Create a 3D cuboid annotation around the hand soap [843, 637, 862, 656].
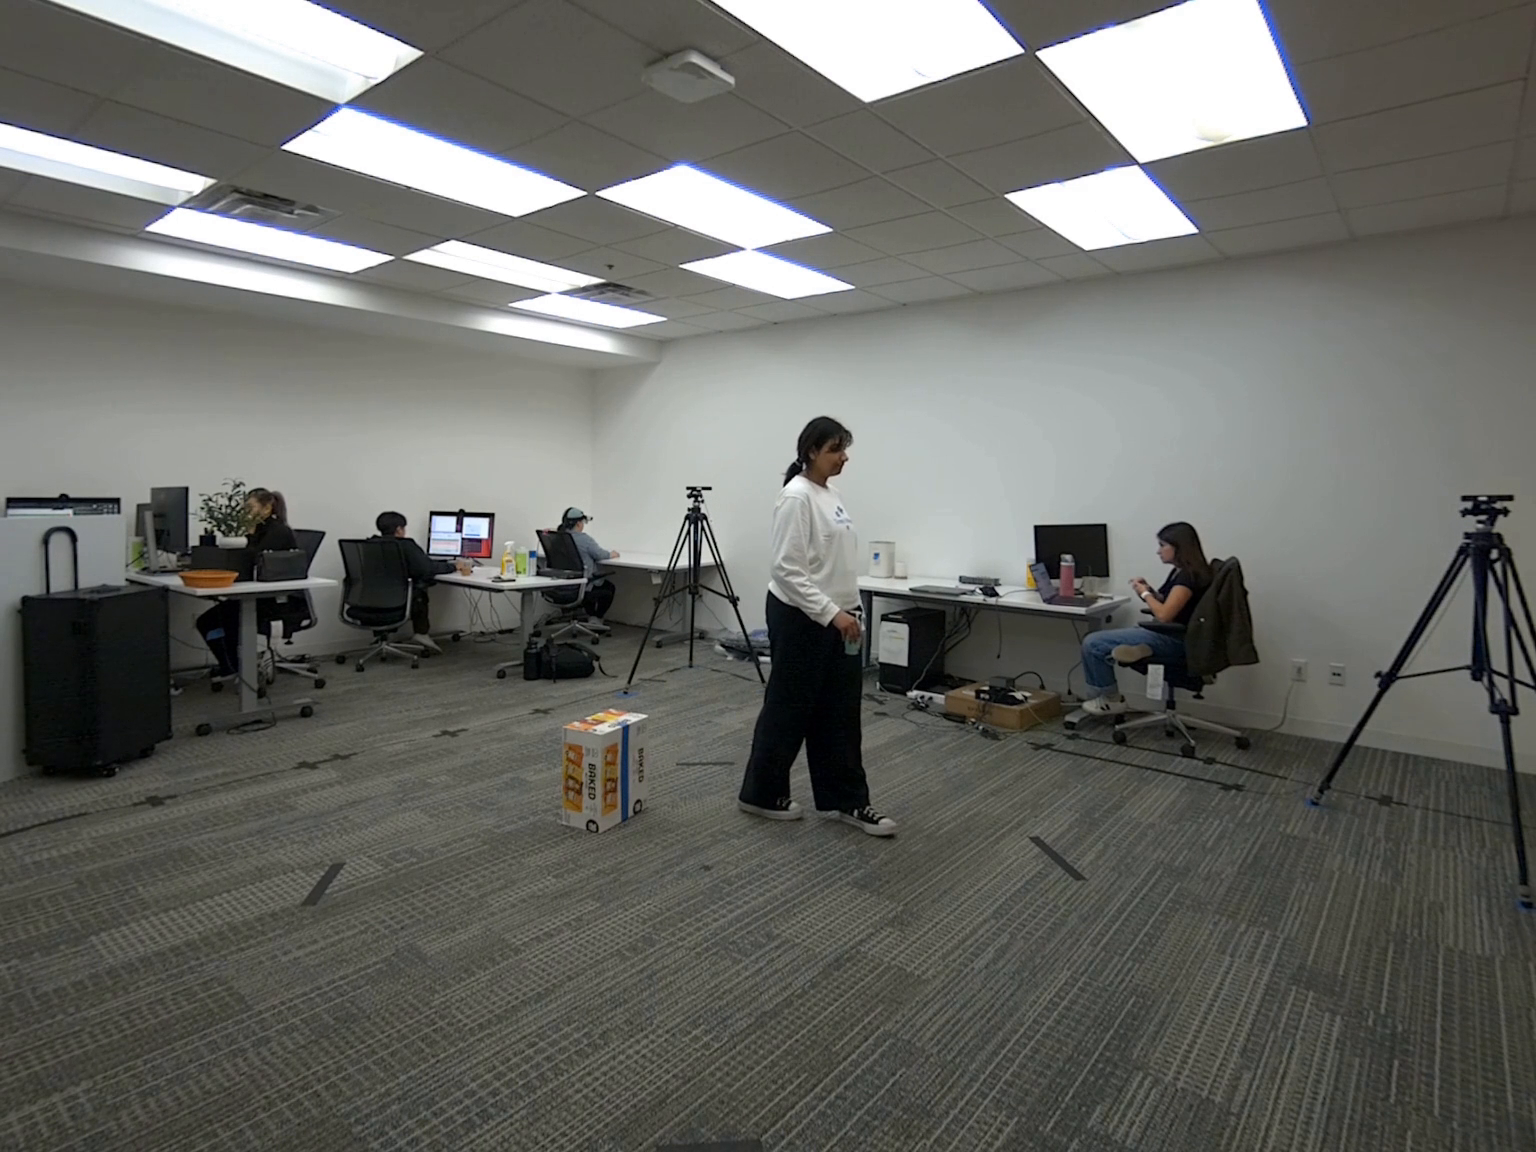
[{"bbox_3d":[0.324,0.228,3.344,0.082,0.168,0.045,1,2,-45],"label":"hand soap"}]
